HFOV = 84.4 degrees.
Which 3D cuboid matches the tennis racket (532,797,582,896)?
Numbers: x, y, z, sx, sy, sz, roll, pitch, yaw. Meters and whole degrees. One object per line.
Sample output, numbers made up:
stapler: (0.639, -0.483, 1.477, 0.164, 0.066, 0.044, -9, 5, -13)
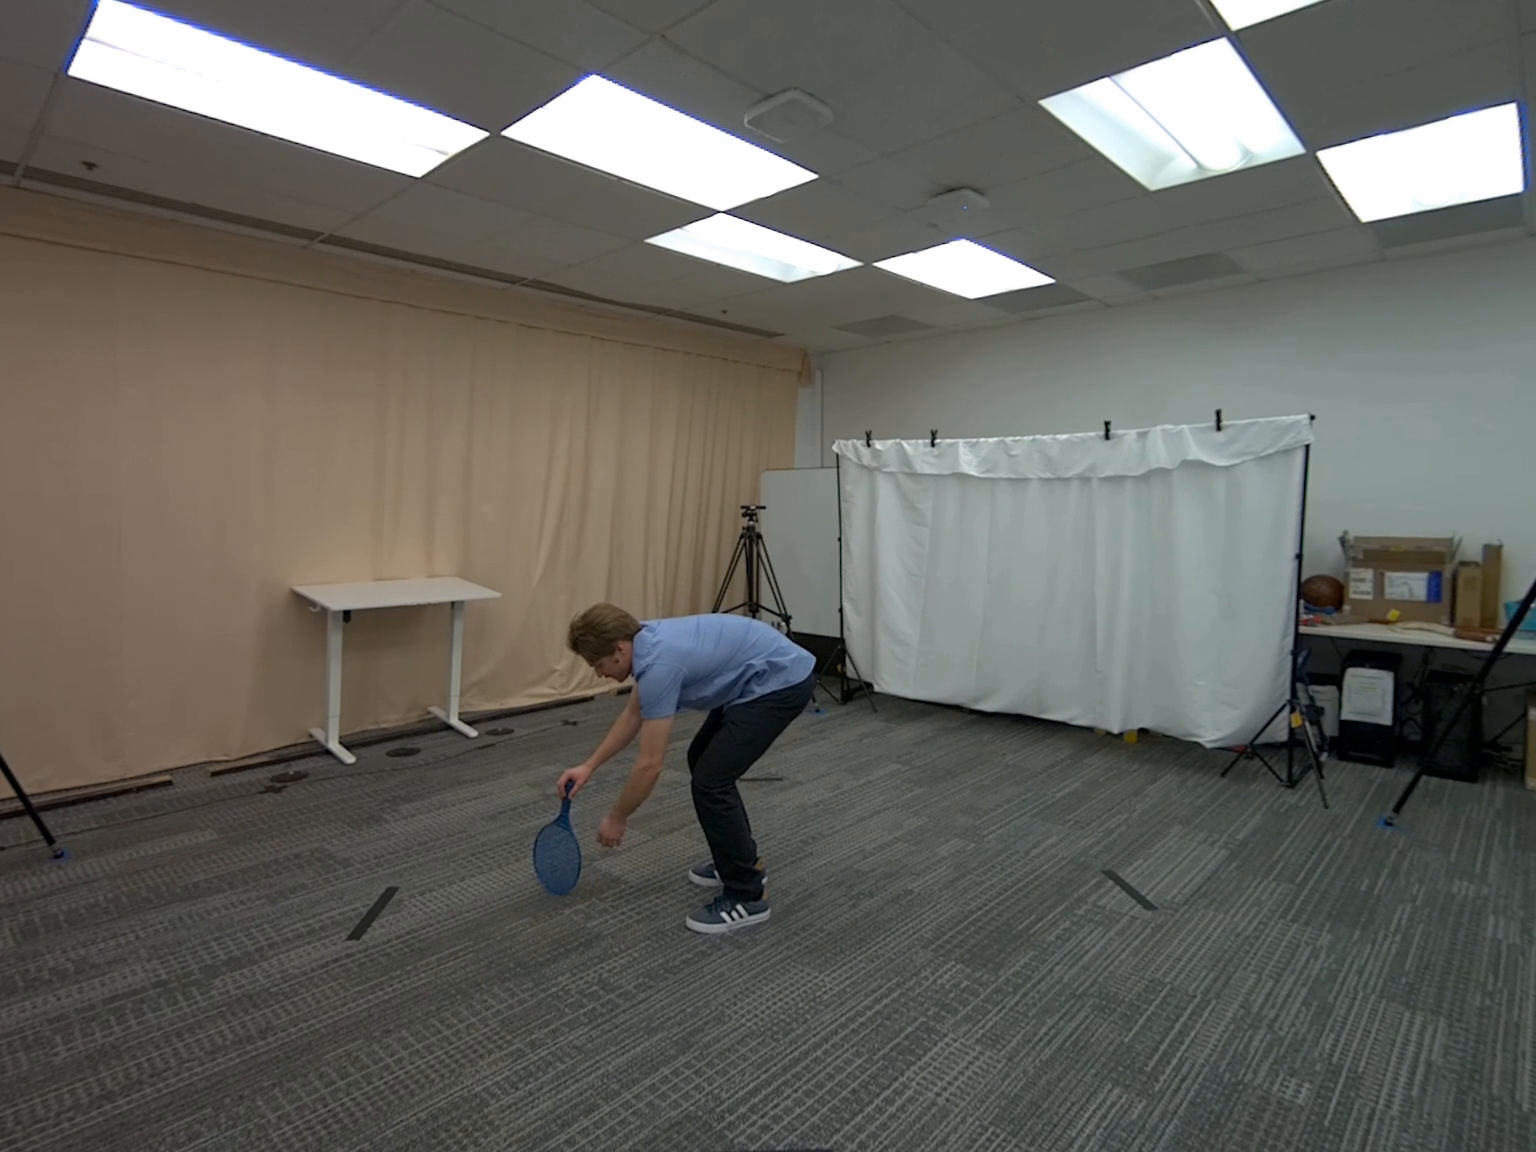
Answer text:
tennis racket: (-0.741, 0.935, 3.009, 0.219, 0.431, 0.031, 11, 8, 24)
